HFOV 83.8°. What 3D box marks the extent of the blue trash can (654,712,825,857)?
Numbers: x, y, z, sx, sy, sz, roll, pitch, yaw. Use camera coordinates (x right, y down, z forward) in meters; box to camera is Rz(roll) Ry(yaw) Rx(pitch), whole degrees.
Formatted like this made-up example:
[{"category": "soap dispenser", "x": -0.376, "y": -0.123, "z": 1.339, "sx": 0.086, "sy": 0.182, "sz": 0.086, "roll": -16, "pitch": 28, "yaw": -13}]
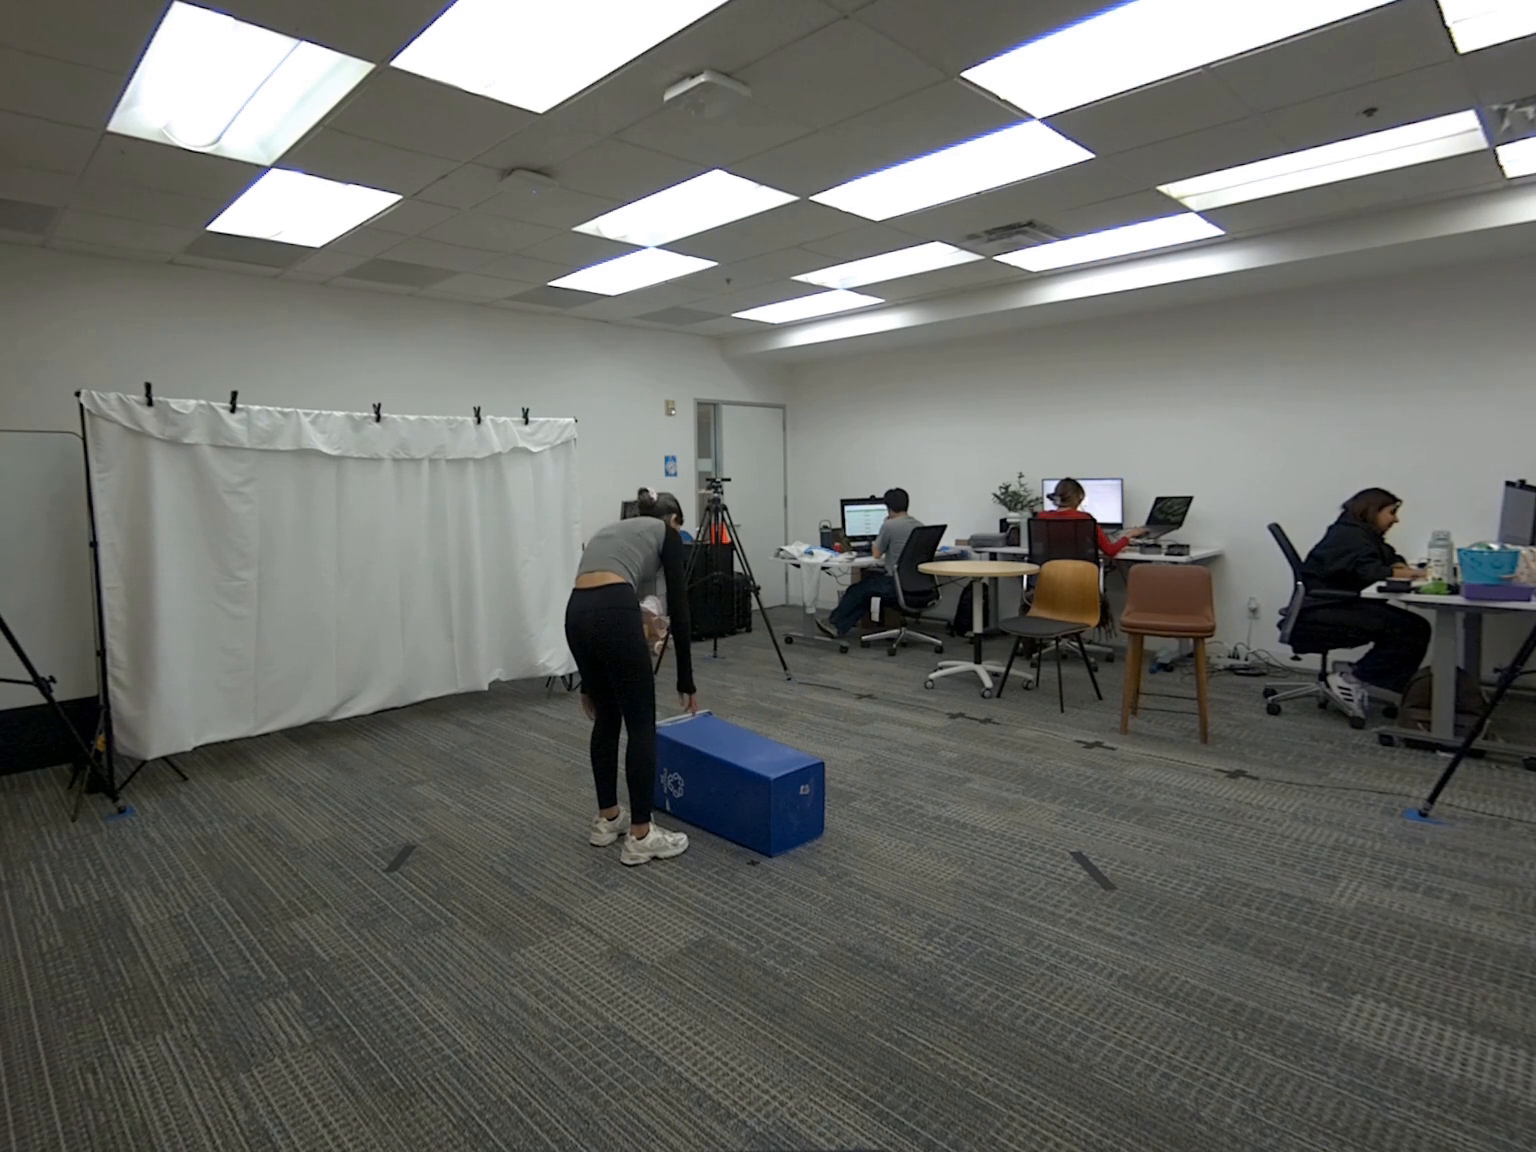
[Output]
[{"category": "blue trash can", "x": -0.131, "y": 0.826, "z": 3.486, "sx": 0.368, "sy": 0.372, "sz": 0.736, "roll": -5, "pitch": 8, "yaw": -45}]
